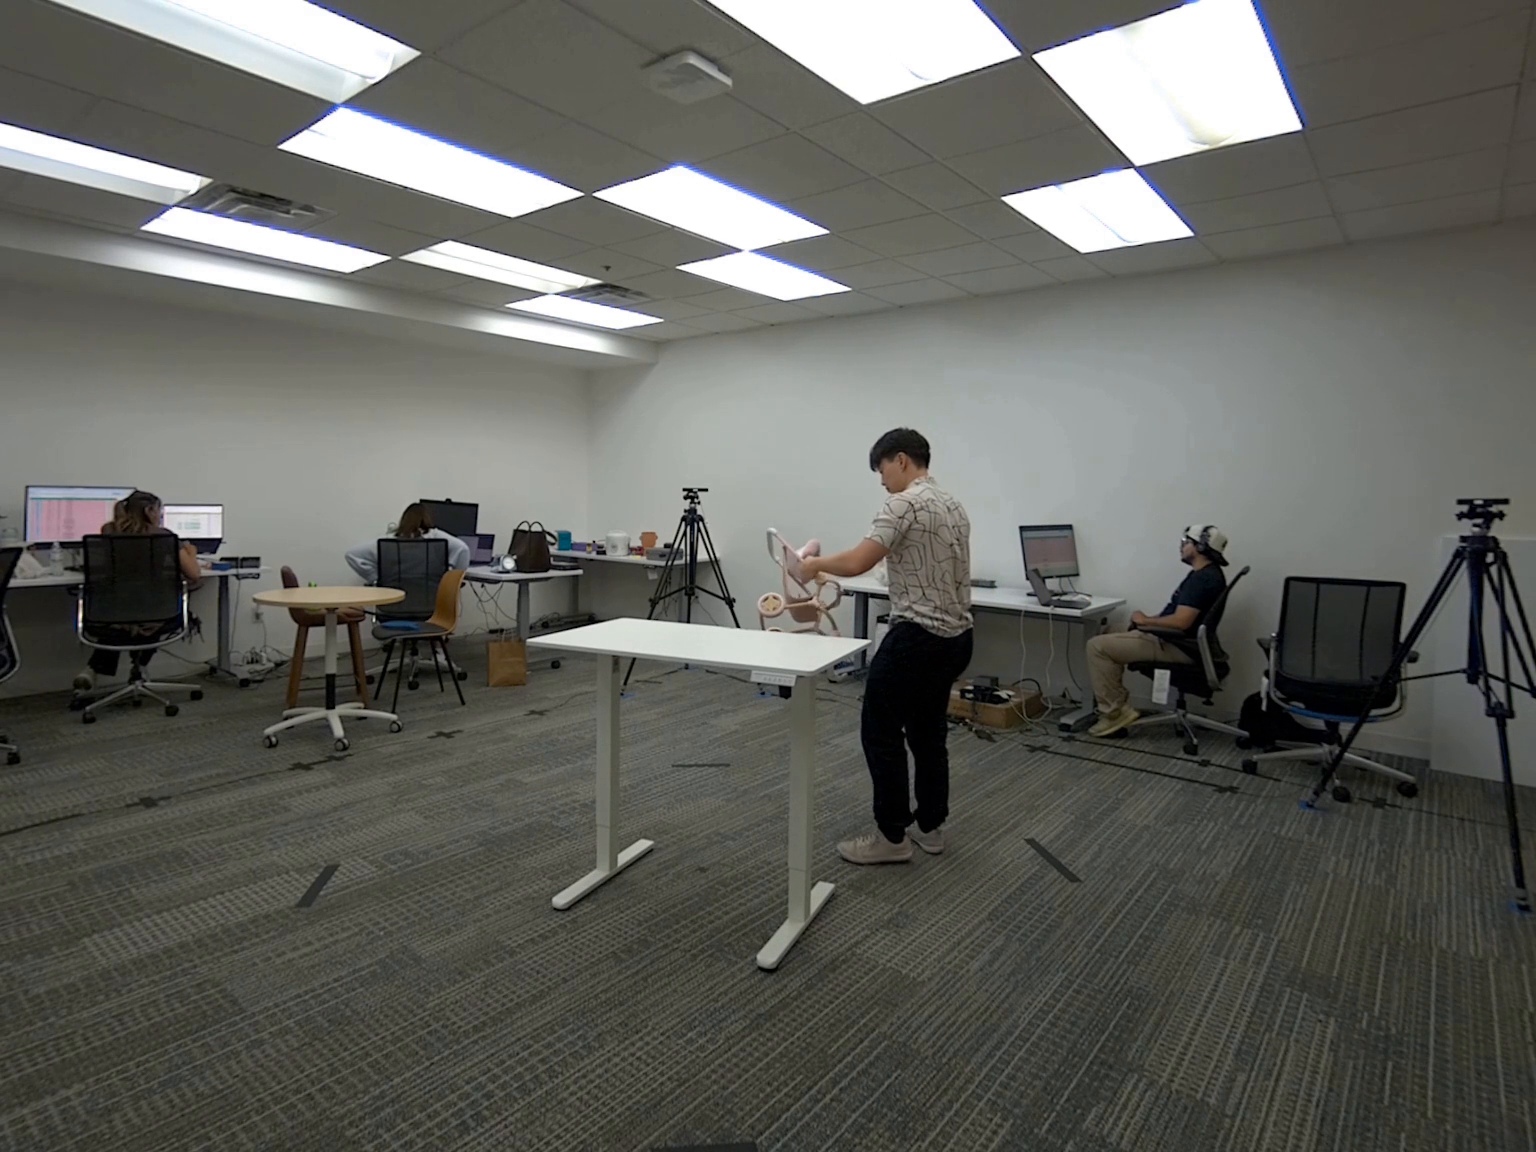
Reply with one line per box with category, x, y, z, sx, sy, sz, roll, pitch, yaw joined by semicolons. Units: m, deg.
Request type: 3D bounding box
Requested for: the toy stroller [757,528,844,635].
toy stroller;0.134;0.056;3.457;0.346;0.547;0.271;-1;-36;11
